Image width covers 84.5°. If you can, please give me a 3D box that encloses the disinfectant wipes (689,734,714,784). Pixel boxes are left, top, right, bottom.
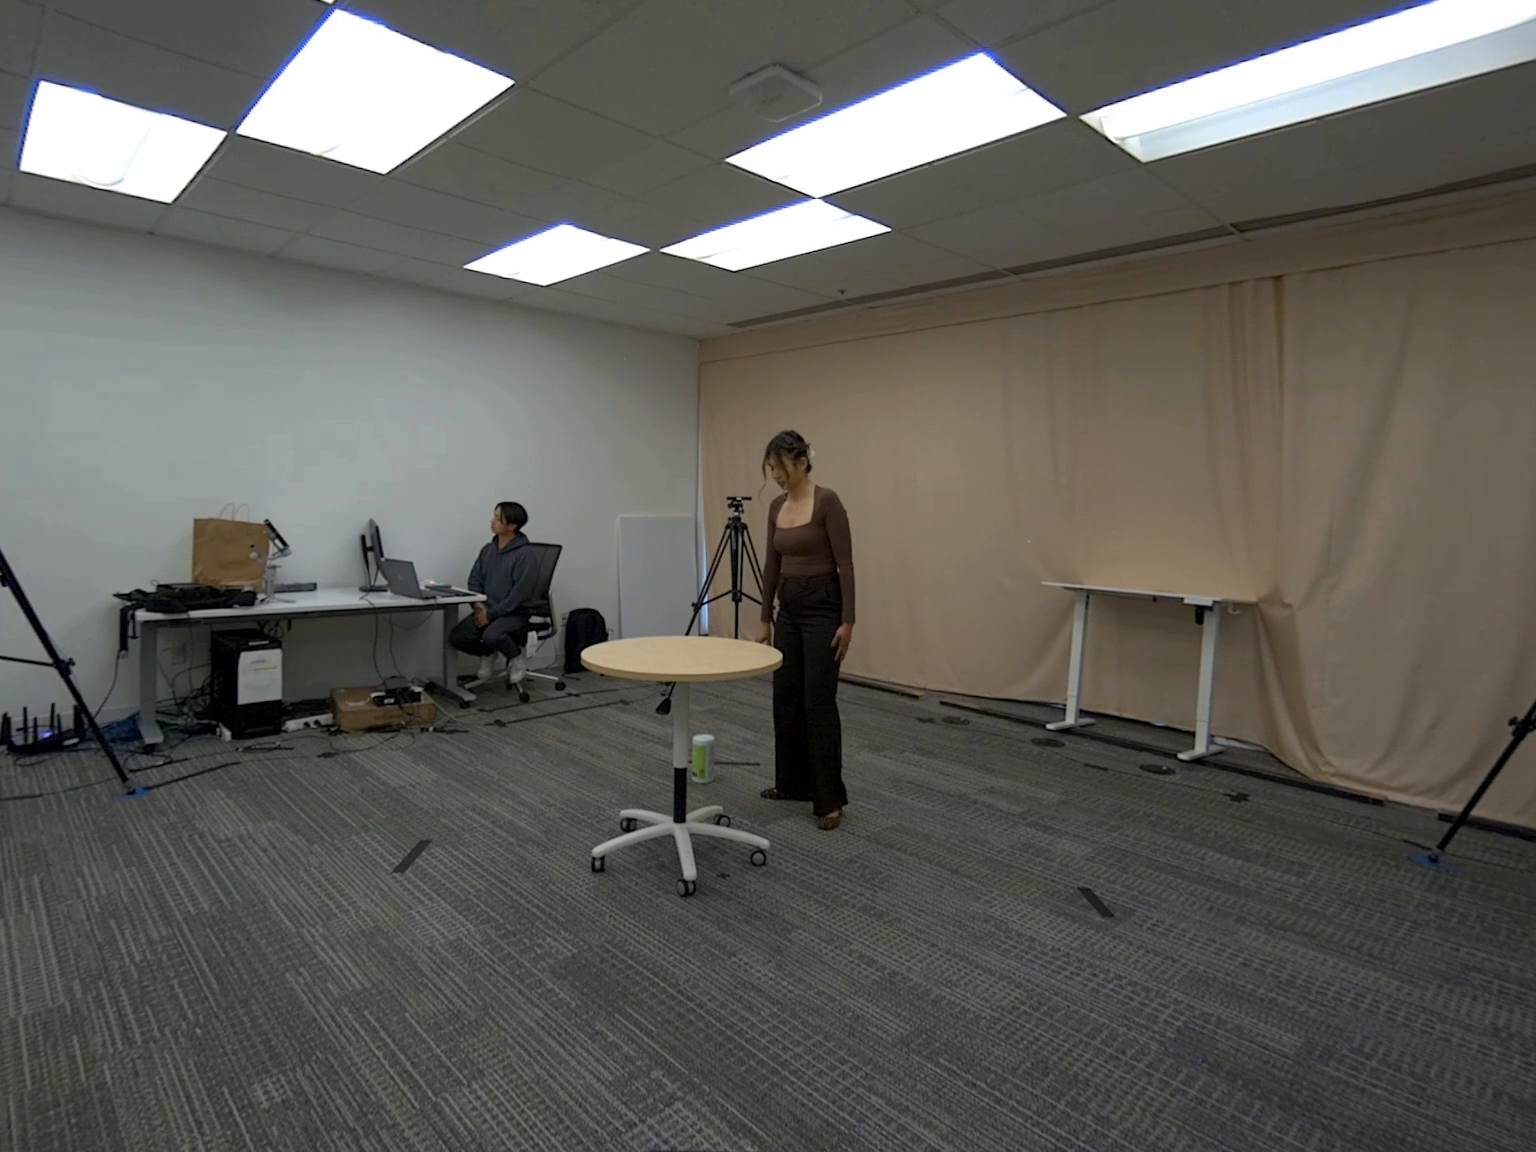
[{"bbox_3d":[-0.327,0.896,4.163,0.118,0.217,0.118,0,2,-1],"label":"disinfectant wipes"}]
